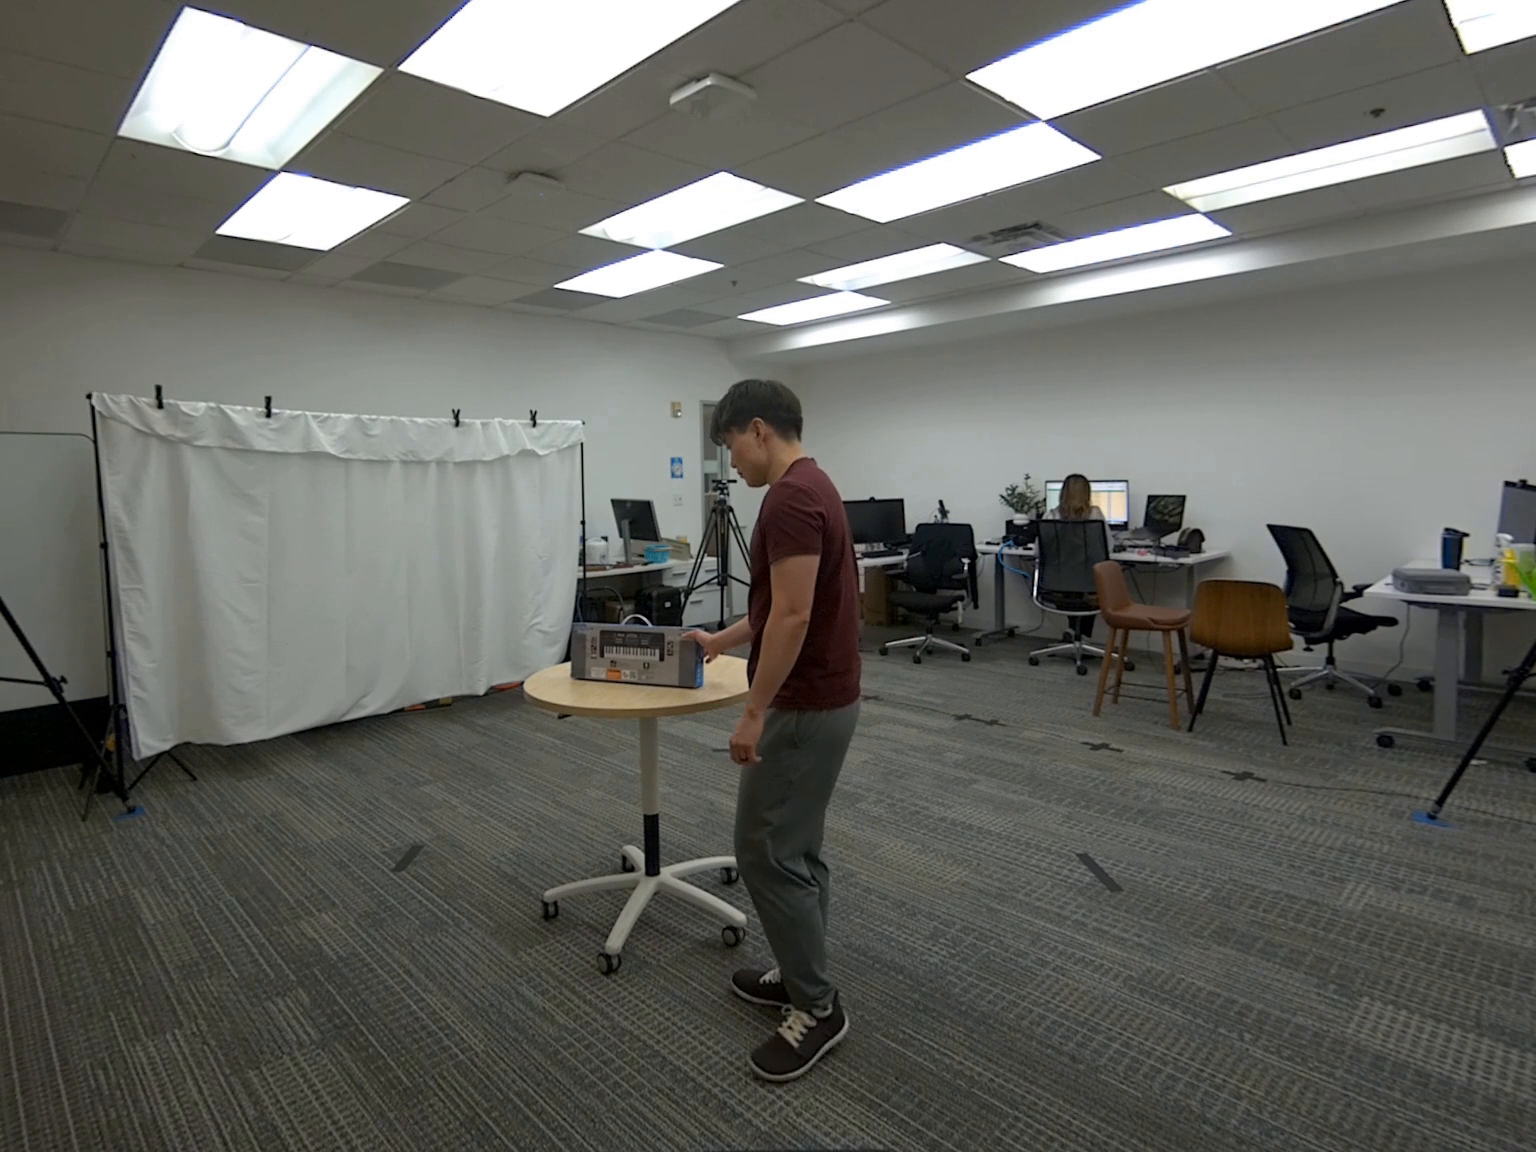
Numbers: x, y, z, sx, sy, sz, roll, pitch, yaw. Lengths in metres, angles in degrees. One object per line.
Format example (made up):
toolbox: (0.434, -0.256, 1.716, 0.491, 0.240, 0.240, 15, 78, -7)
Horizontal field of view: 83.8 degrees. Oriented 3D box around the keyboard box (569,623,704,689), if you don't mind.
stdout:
keyboard box: (-0.408, 0.240, 2.625, 0.446, 0.176, 0.058, 1, -3, 23)
